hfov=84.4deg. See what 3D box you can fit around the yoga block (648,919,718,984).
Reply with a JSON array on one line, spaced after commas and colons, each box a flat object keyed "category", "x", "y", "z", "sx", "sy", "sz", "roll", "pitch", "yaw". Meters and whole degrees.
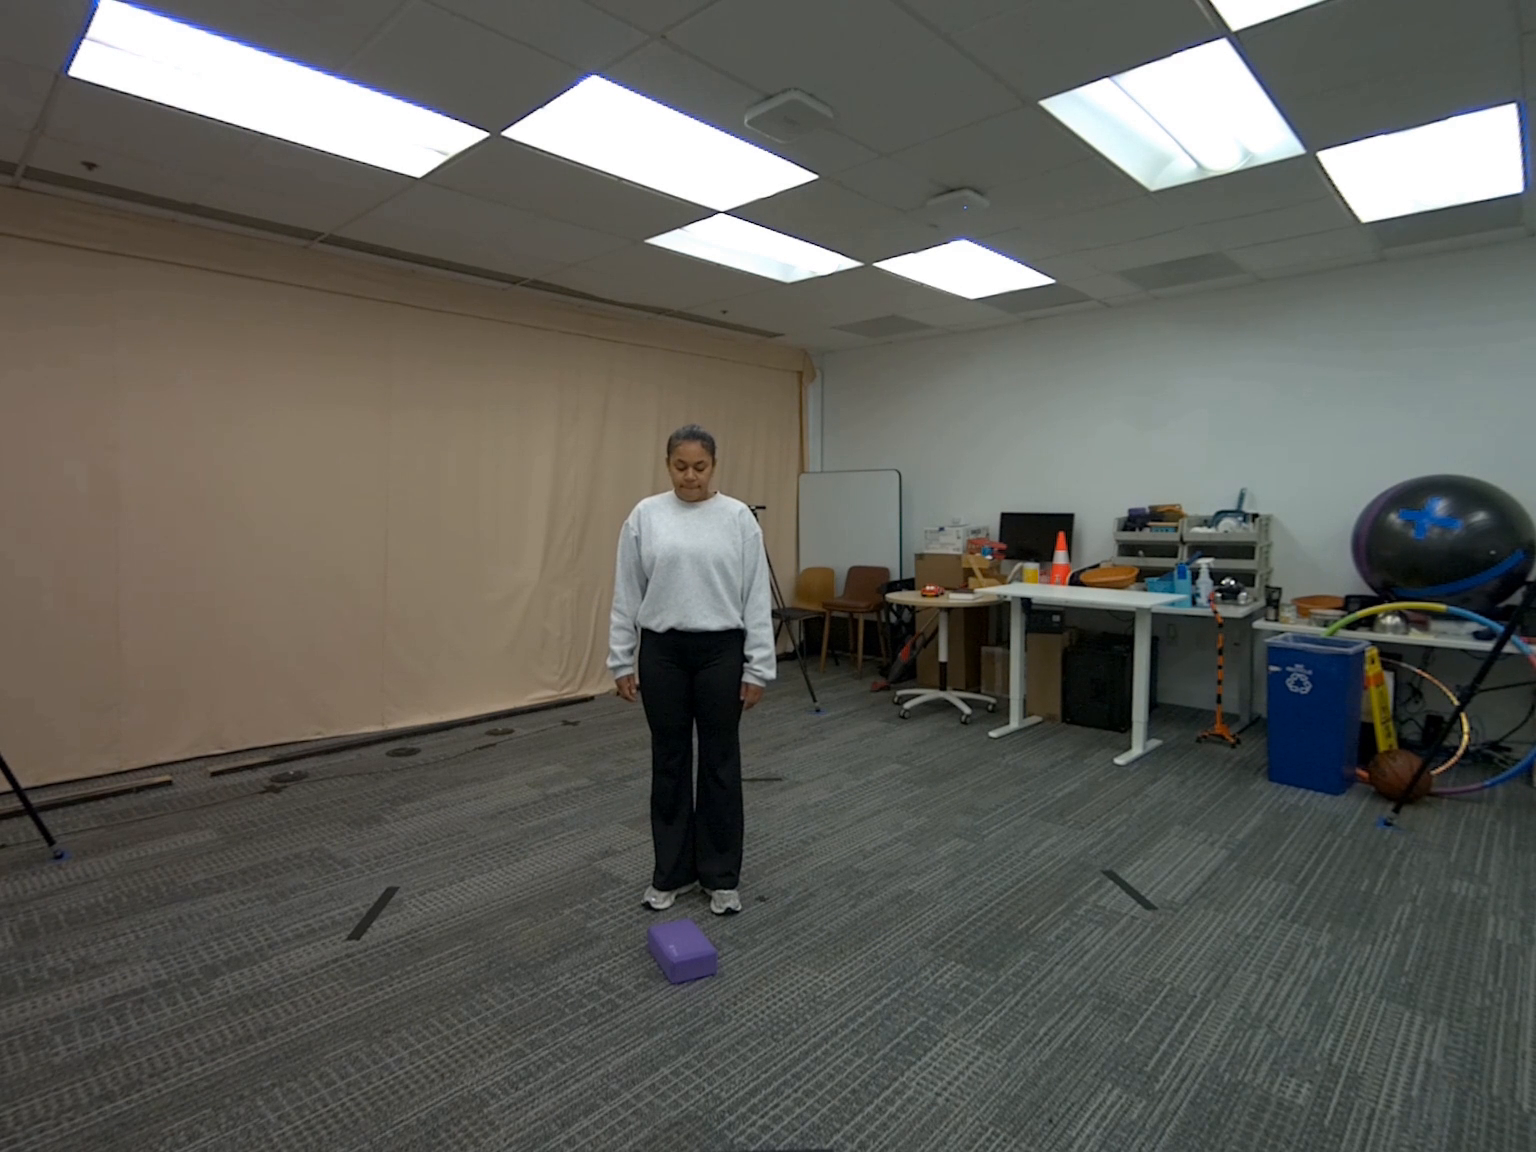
[{"category": "yoga block", "x": -0.263, "y": 1.133, "z": 2.571, "sx": 0.145, "sy": 0.076, "sz": 0.235, "roll": -1, "pitch": 5, "yaw": -26}]
